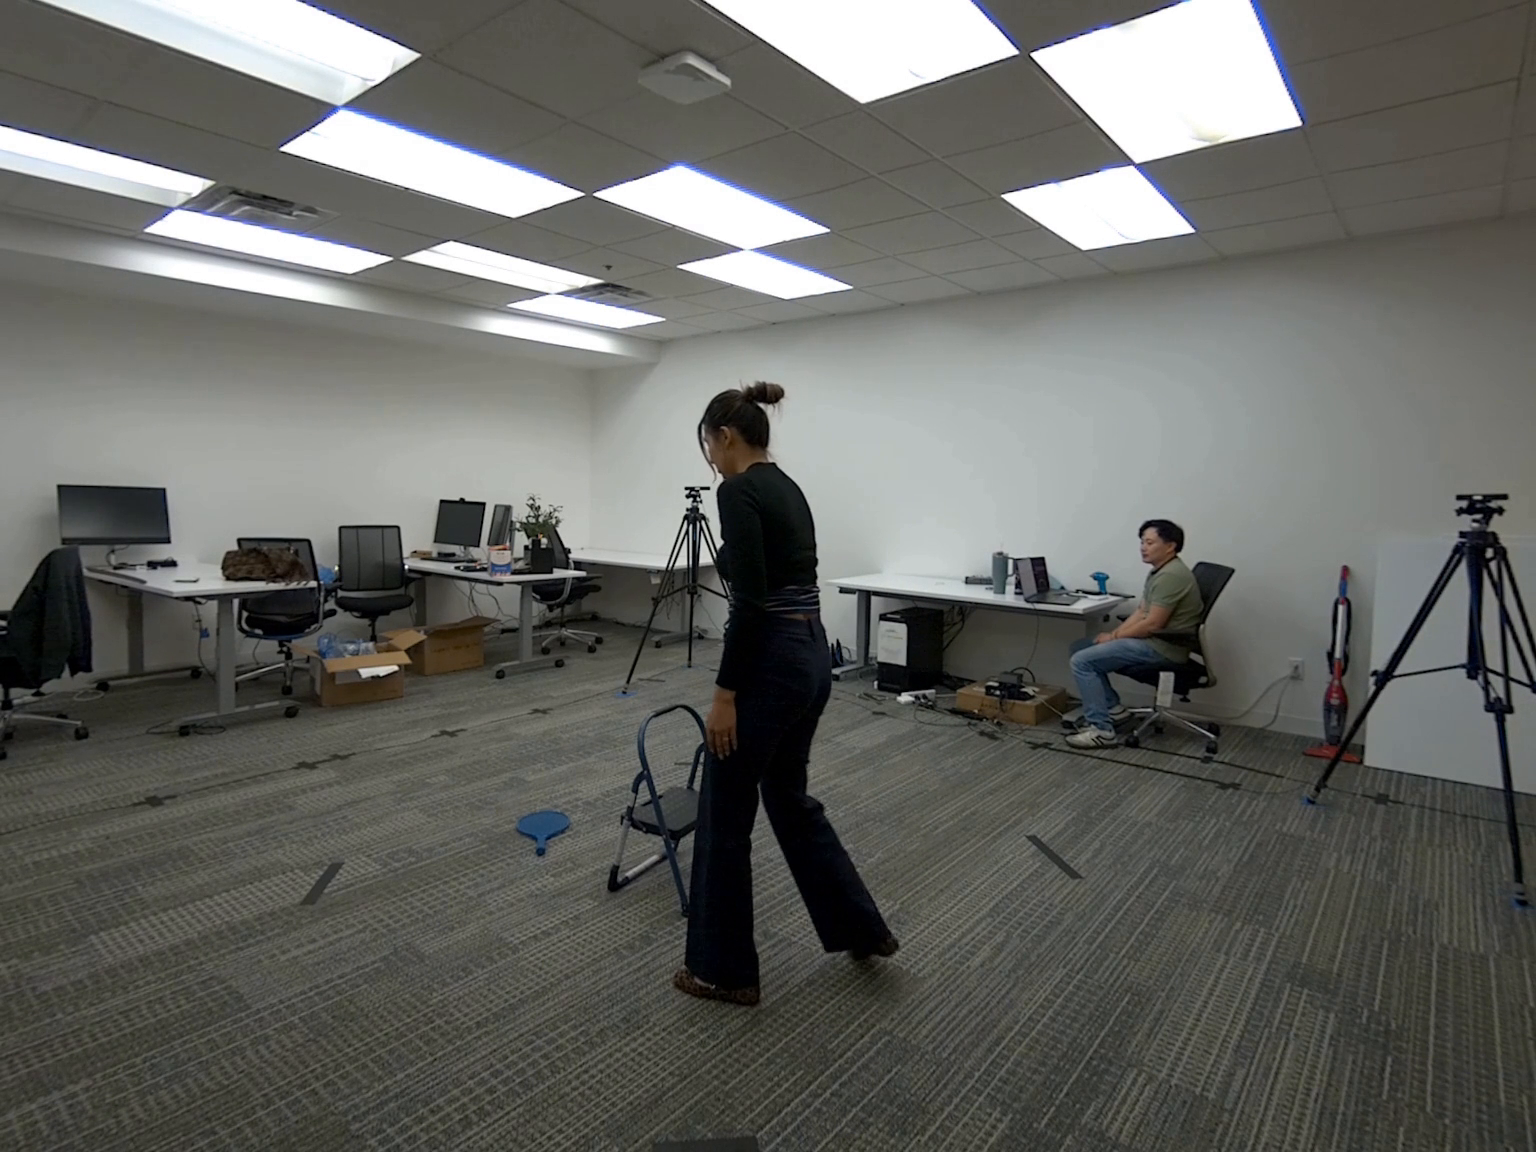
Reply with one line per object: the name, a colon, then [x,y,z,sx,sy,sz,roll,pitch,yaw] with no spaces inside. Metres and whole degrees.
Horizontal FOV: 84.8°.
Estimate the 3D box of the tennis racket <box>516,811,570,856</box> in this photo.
tennis racket: [-0.908,1.010,3.396,0.211,0.031,0.440,0,4,-14]
